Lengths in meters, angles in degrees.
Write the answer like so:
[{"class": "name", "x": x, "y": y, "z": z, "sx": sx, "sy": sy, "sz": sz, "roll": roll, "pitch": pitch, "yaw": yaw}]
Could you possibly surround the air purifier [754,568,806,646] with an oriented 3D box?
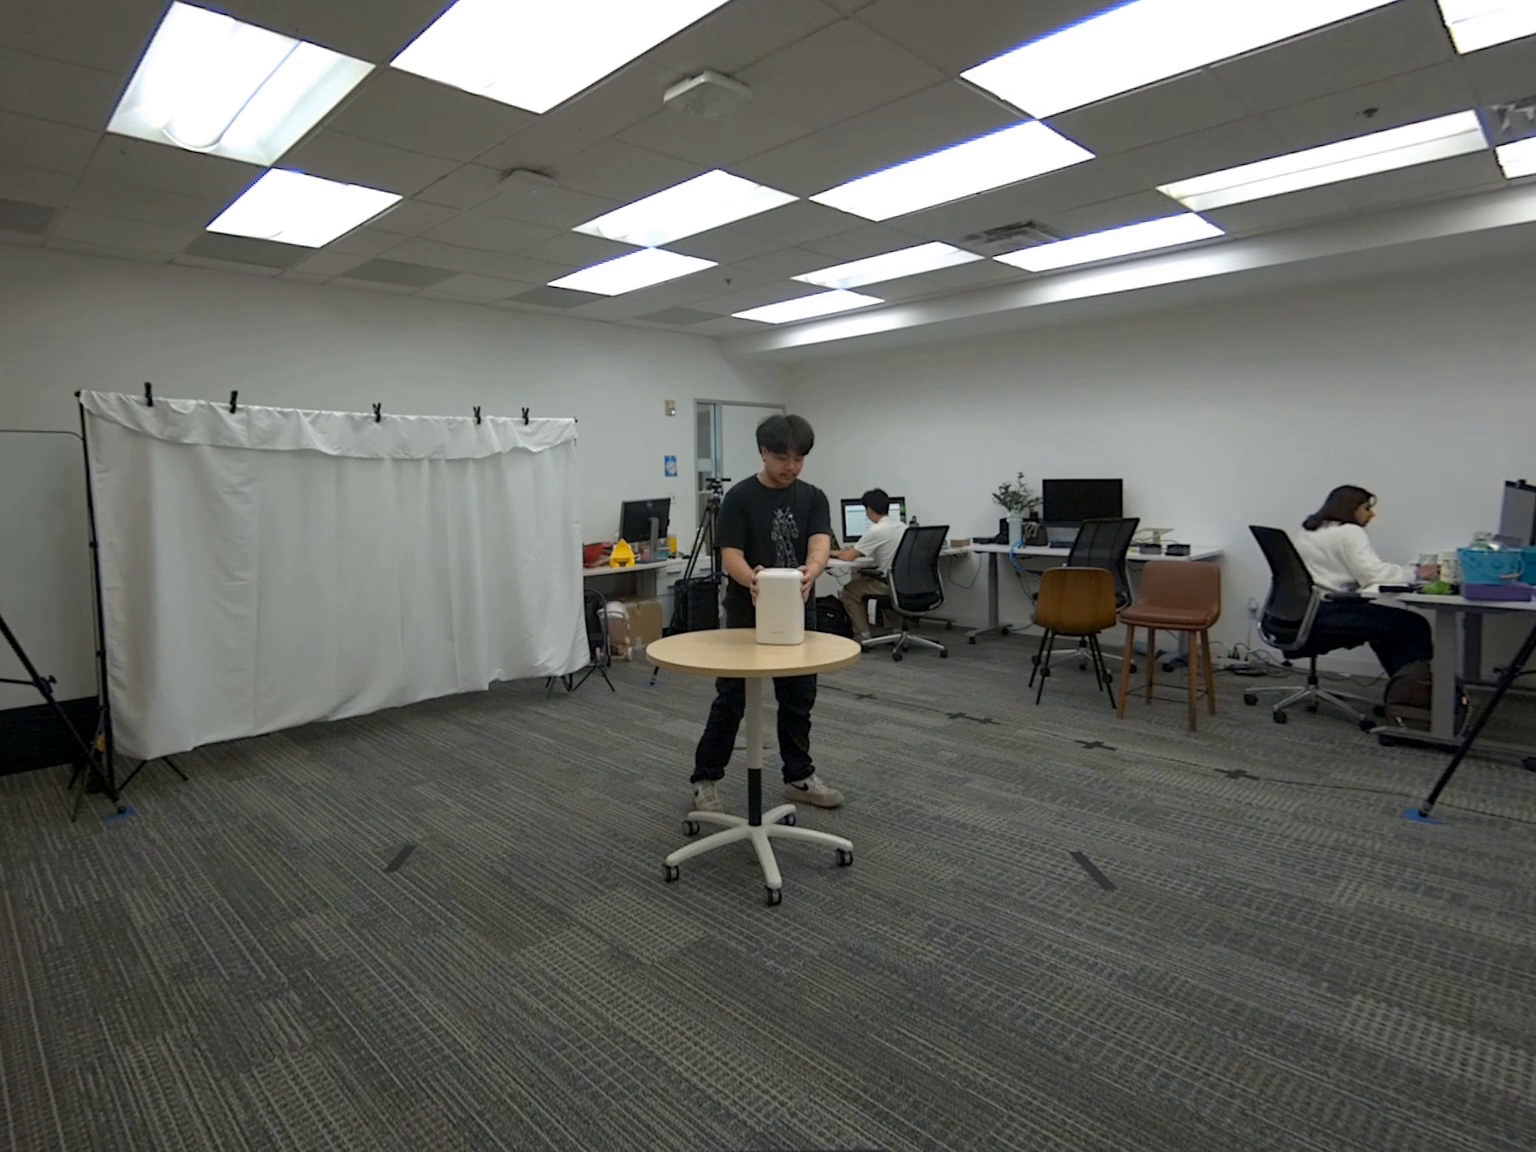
[{"class": "air purifier", "x": 0.040, "y": 0.114, "z": 3.161, "sx": 0.173, "sy": 0.264, "sz": 0.170, "roll": 1, "pitch": 4, "yaw": 12}]
